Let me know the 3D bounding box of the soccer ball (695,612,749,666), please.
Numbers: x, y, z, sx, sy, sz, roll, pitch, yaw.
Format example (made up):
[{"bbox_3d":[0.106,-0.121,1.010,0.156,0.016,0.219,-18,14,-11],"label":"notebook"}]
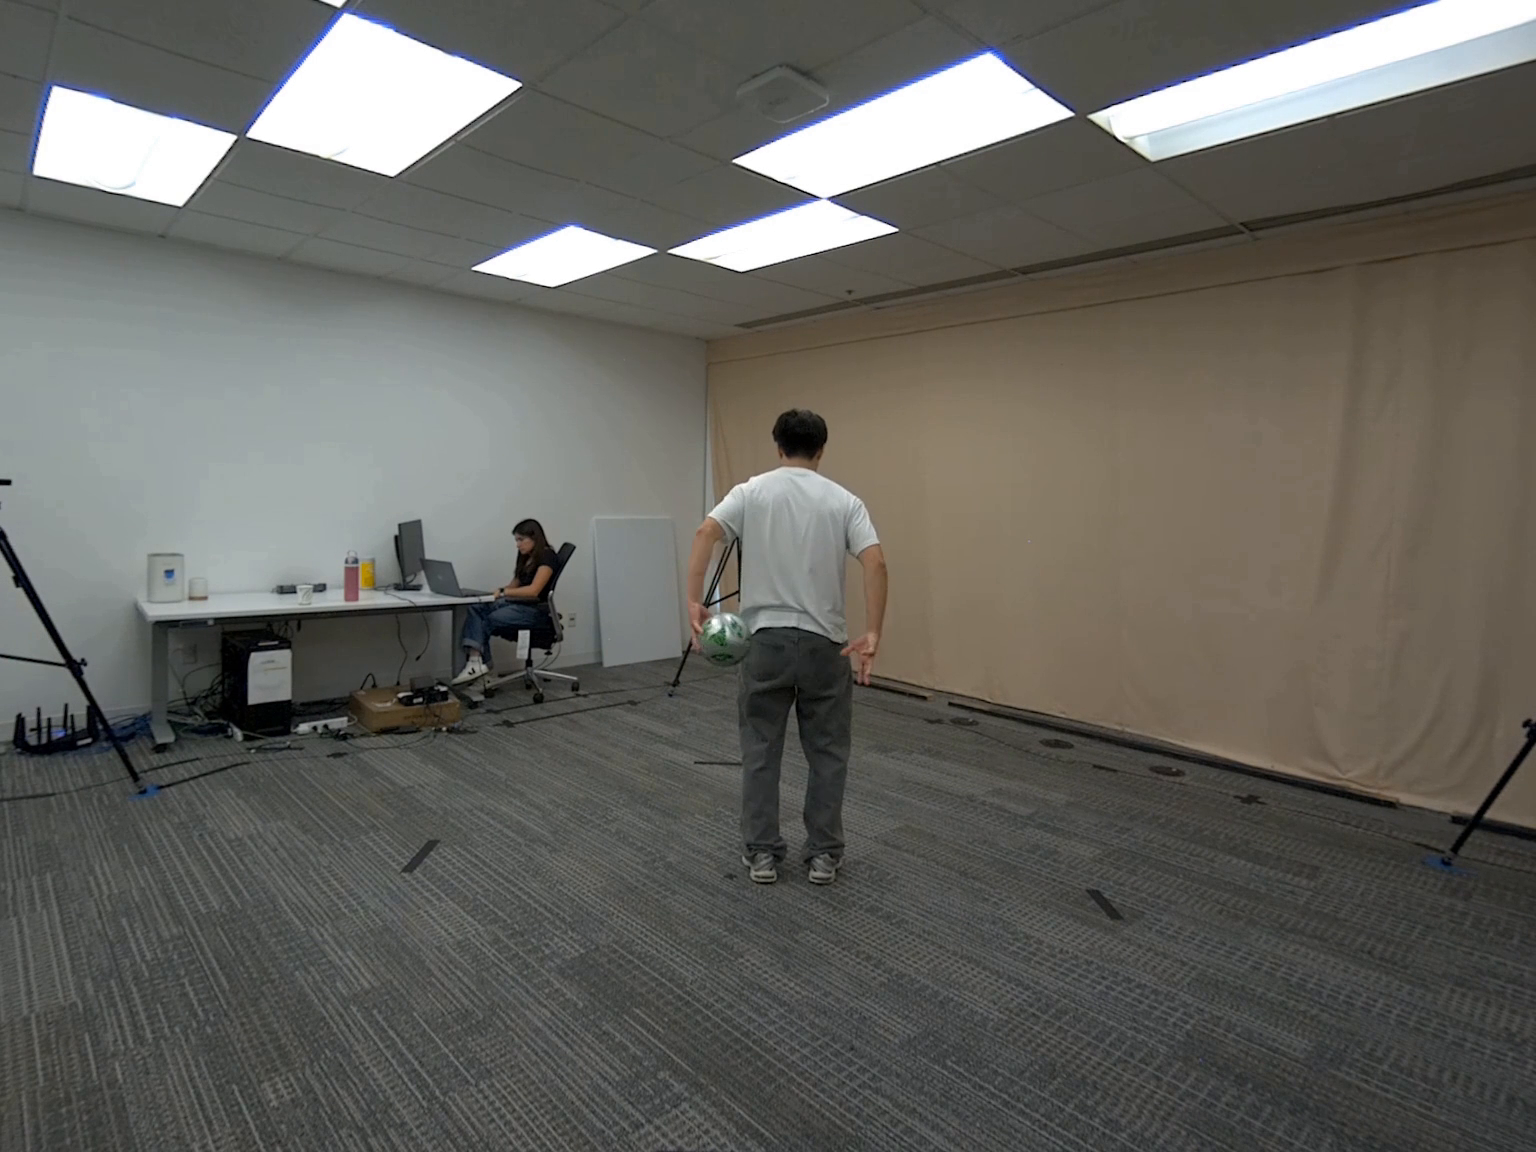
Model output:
[{"bbox_3d":[-0.148,0.208,2.882,0.187,0.187,0.188,1,4,-1],"label":"soccer ball"}]
